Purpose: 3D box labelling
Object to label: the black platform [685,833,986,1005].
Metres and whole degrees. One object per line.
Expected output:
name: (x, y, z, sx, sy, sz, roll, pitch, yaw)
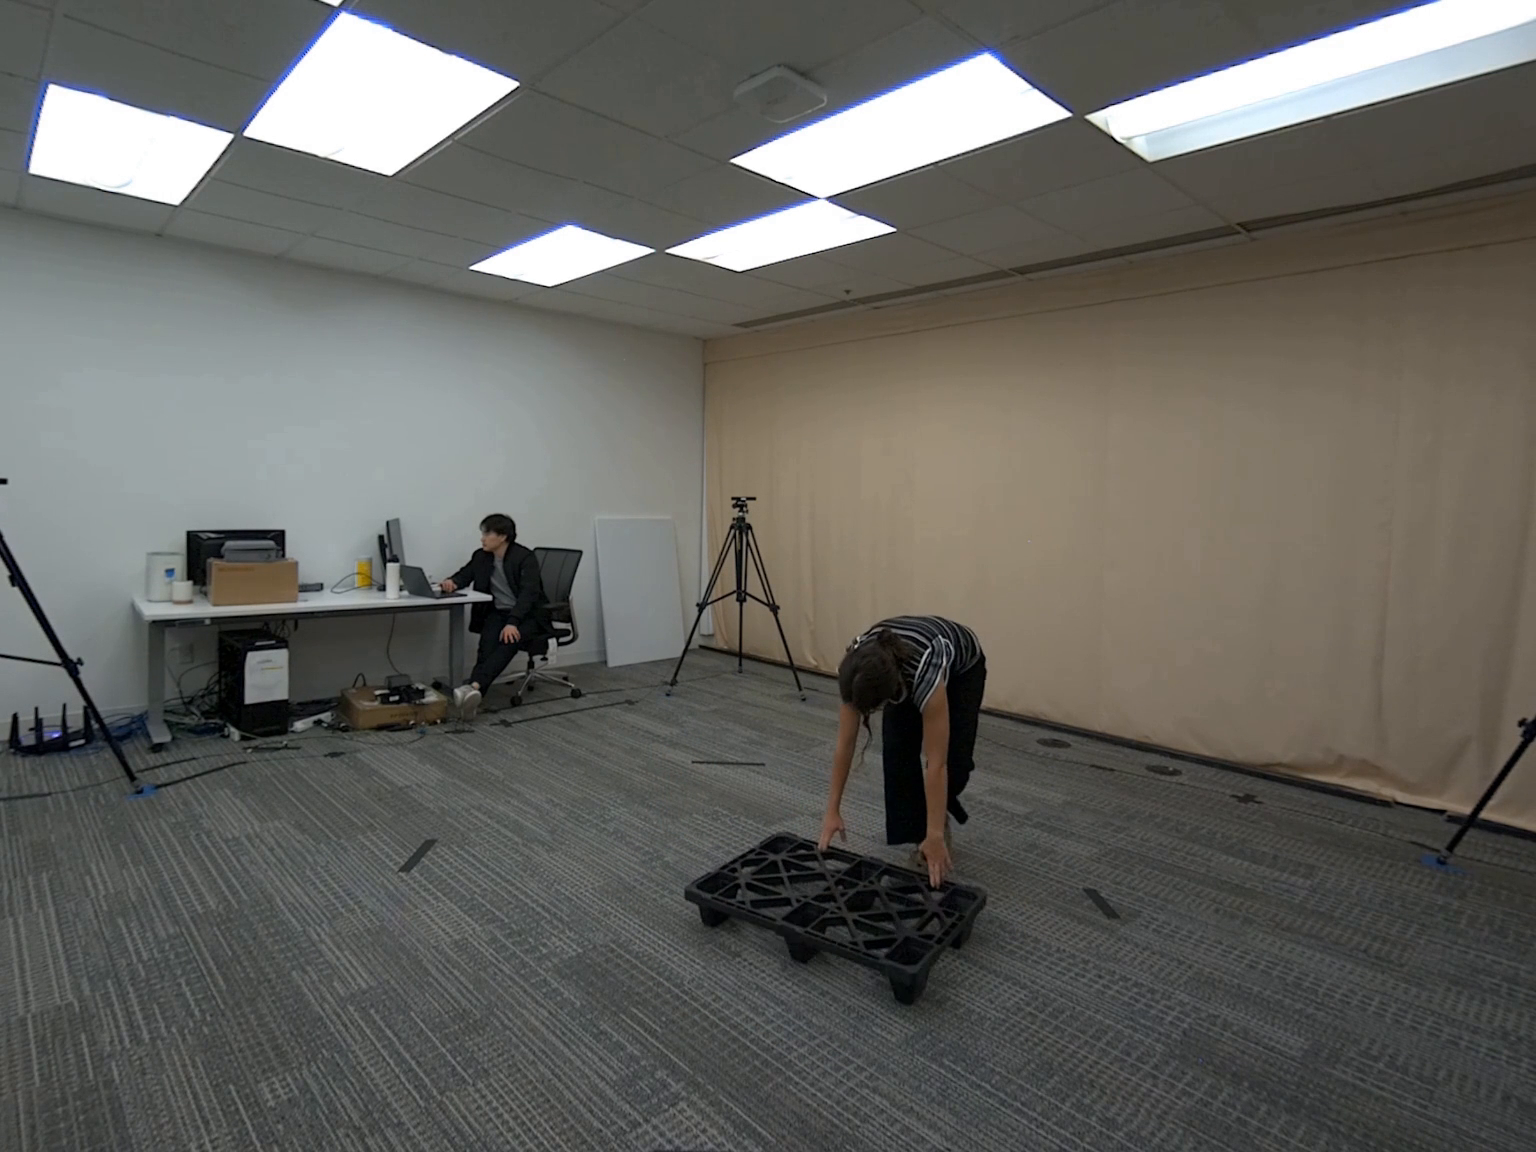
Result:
black platform: (0.209, 1.079, 2.720, 0.825, 0.143, 0.593, 5, 7, 34)
